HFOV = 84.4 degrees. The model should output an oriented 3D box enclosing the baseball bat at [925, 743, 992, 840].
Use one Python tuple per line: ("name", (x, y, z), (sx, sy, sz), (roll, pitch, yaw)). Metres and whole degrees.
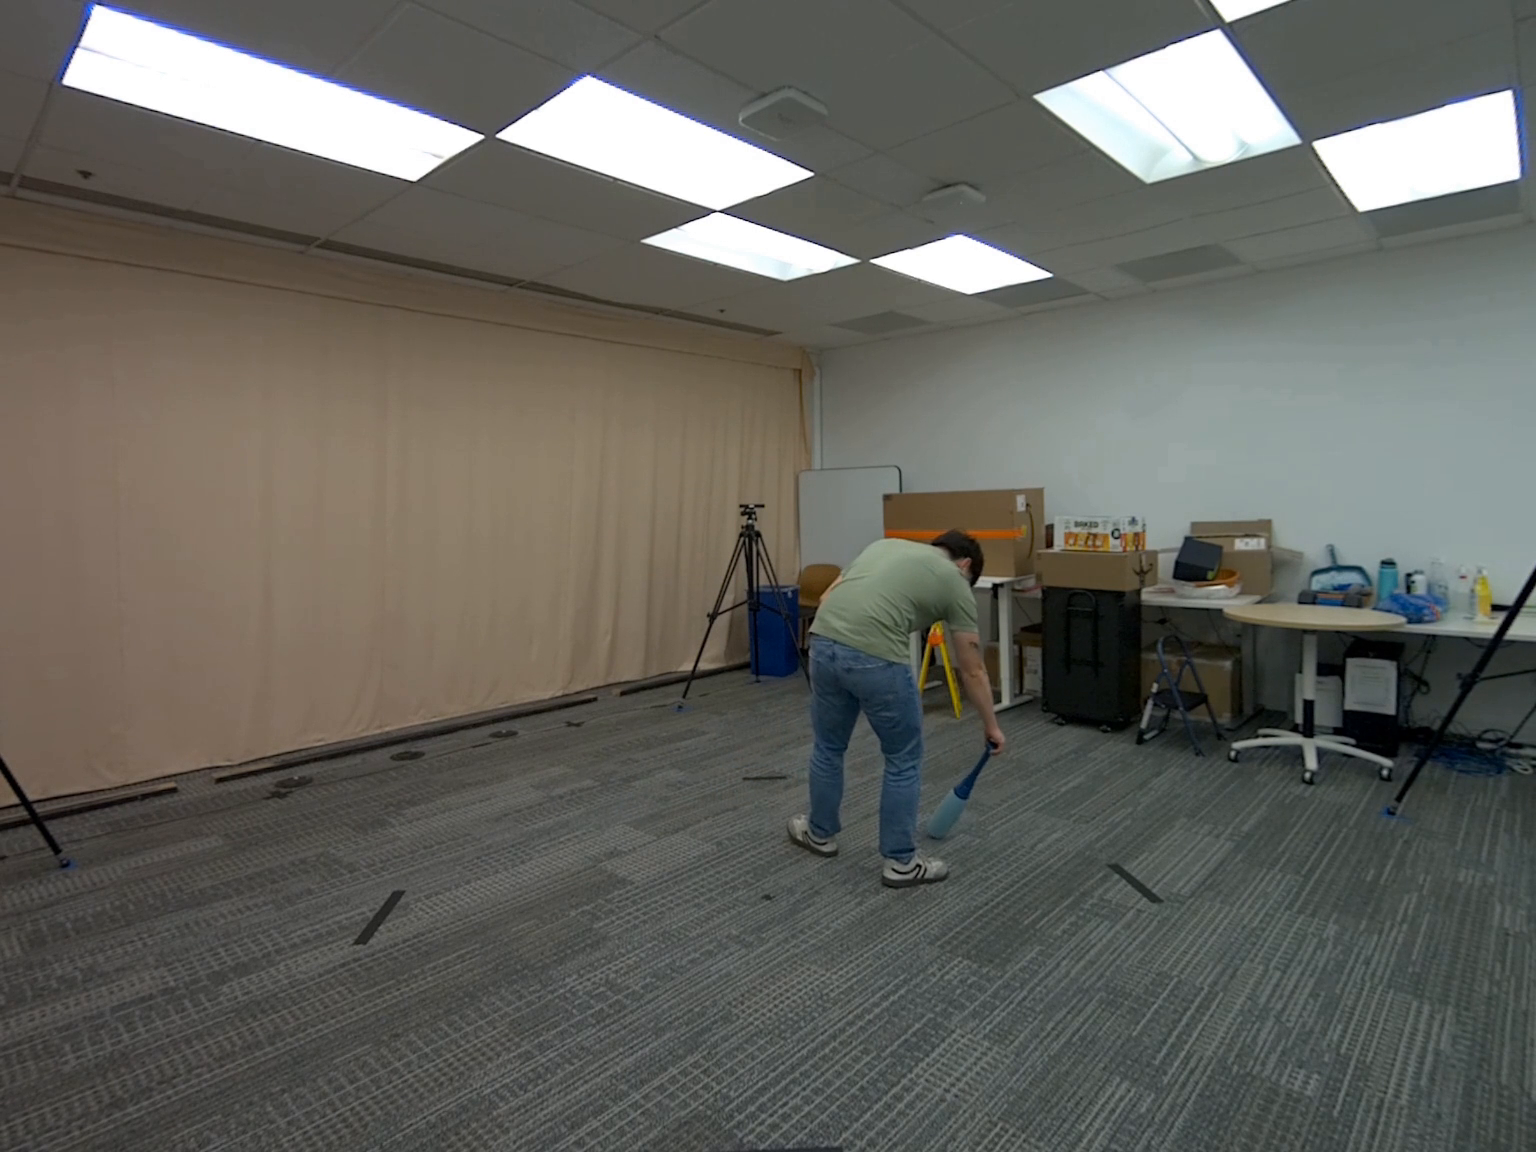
("baseball bat", (0.782, 0.860, 3.364), (0.088, 0.540, 0.091), (15, 33, -12))
